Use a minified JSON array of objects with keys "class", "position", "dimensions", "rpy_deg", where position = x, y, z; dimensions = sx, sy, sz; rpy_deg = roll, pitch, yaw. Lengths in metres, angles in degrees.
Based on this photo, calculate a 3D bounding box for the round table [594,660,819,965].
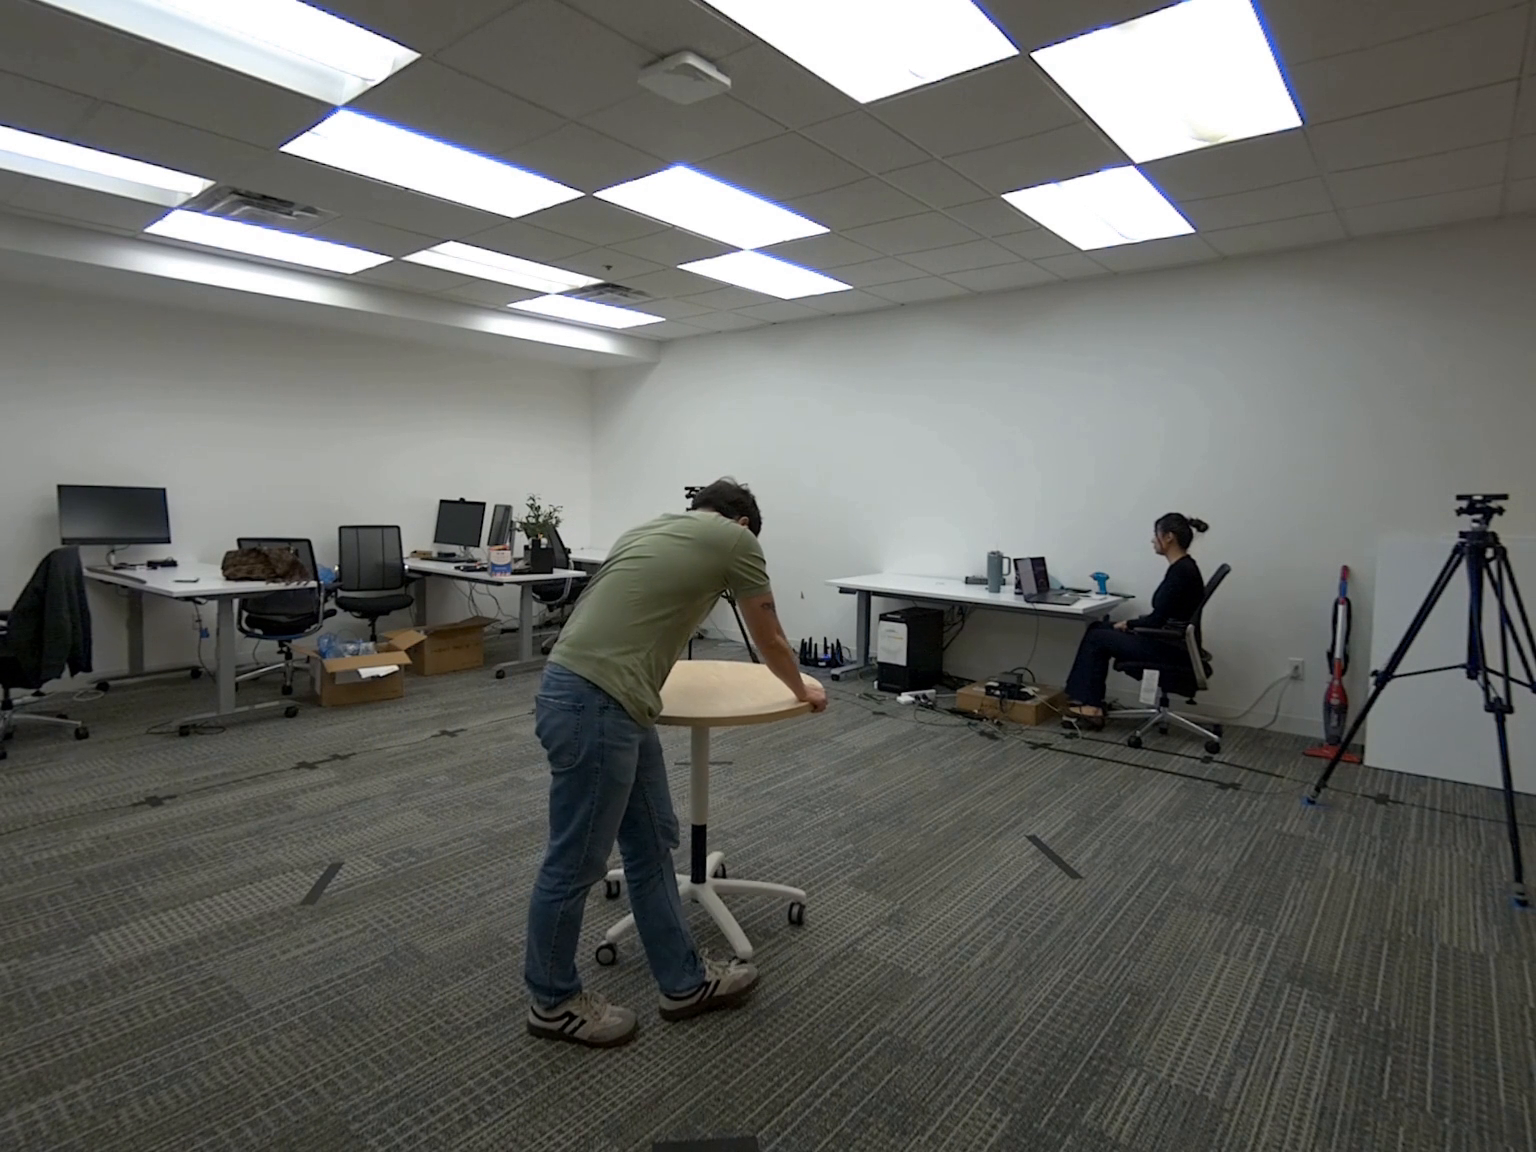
[{"class":"round table","position":[-0.227,0.727,2.689],"dimensions":[0.763,0.791,0.768],"rpy_deg":[1,4,-2]}]
